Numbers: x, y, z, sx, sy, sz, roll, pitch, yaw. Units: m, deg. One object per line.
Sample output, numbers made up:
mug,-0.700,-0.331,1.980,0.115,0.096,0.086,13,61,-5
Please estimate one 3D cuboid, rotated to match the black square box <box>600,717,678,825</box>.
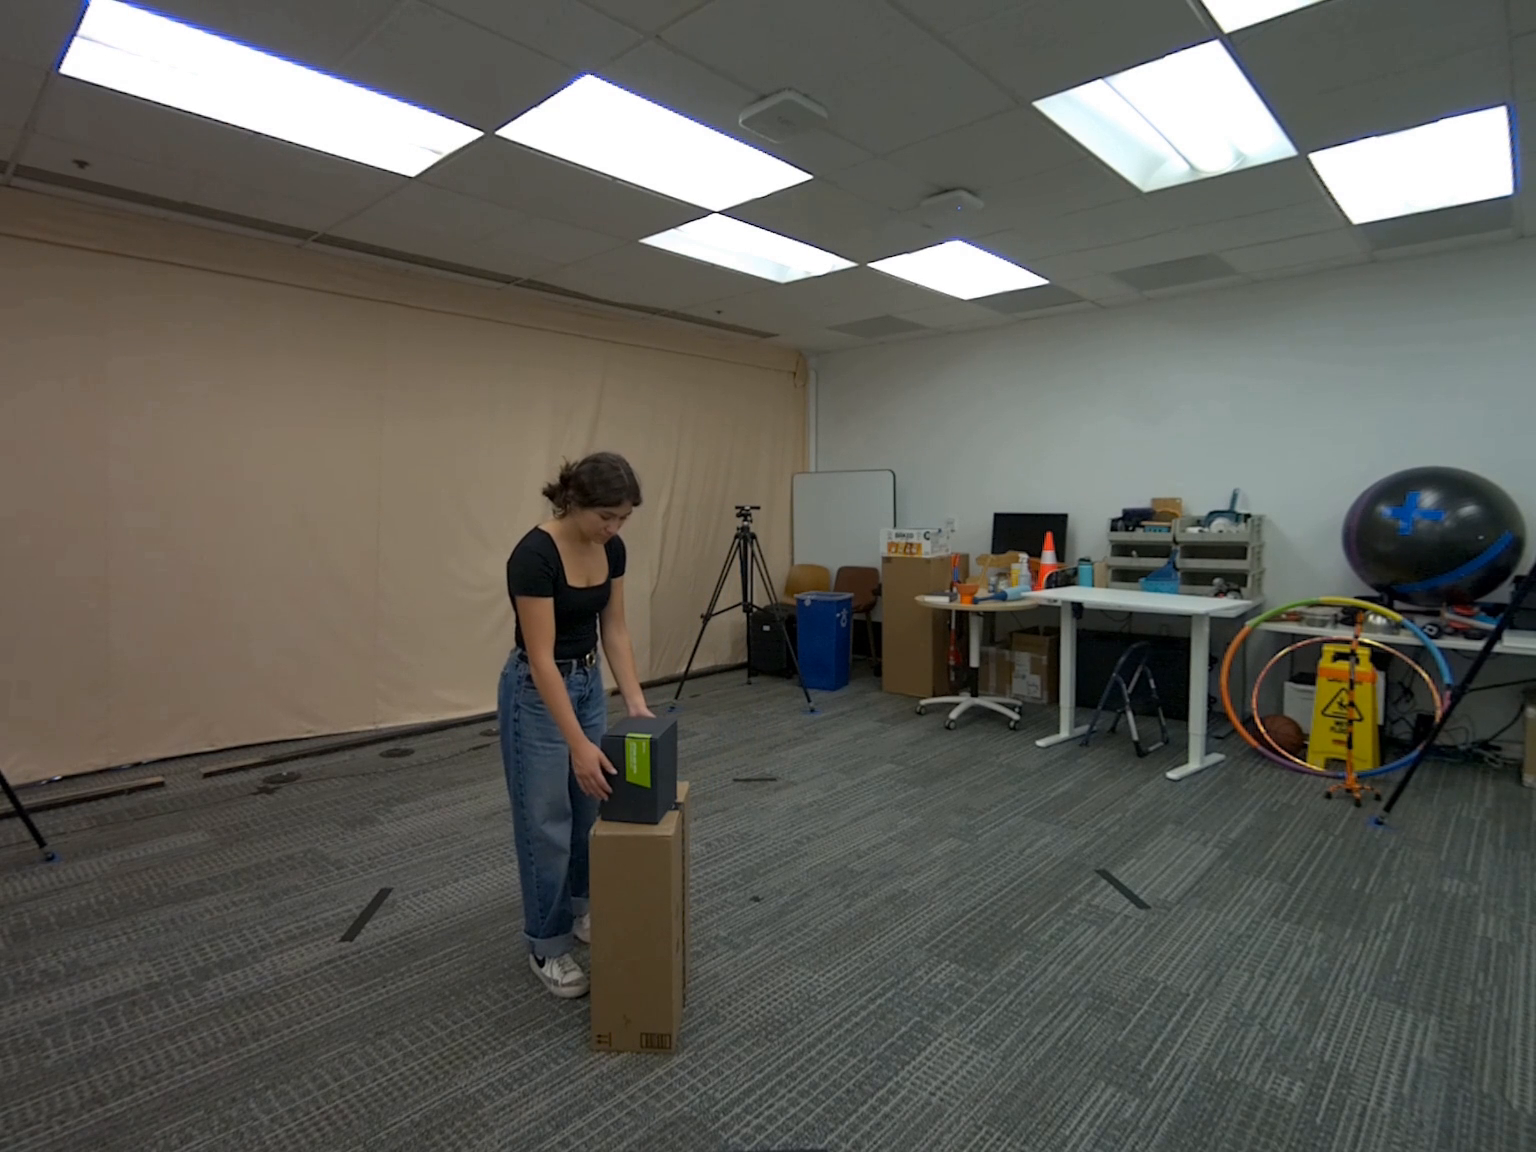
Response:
black square box,-0.337,0.521,2.293,0.157,0.227,0.216,0,4,6
